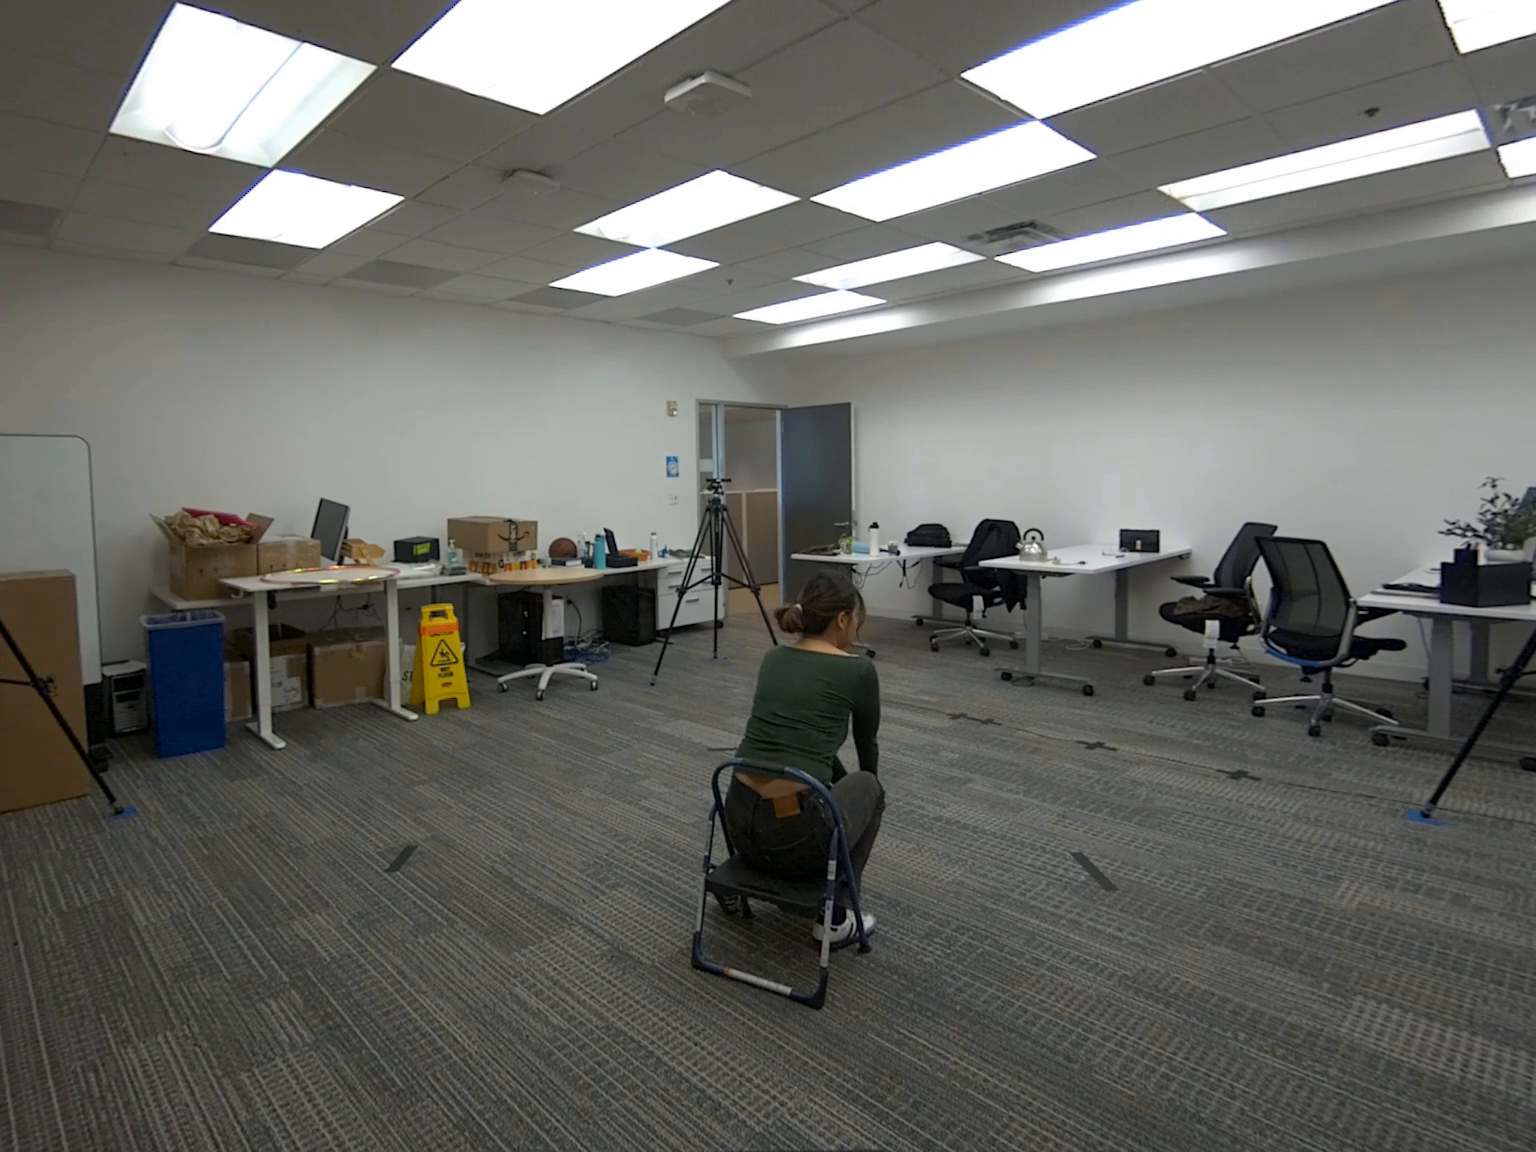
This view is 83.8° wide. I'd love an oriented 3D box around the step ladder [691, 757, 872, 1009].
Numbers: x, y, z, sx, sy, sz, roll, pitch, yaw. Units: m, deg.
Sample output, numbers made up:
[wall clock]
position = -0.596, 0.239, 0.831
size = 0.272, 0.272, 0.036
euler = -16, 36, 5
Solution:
[step ladder]
position = 0.032, 0.819, 2.470
size = 0.442, 0.604, 0.342
euler = 1, 5, 29
